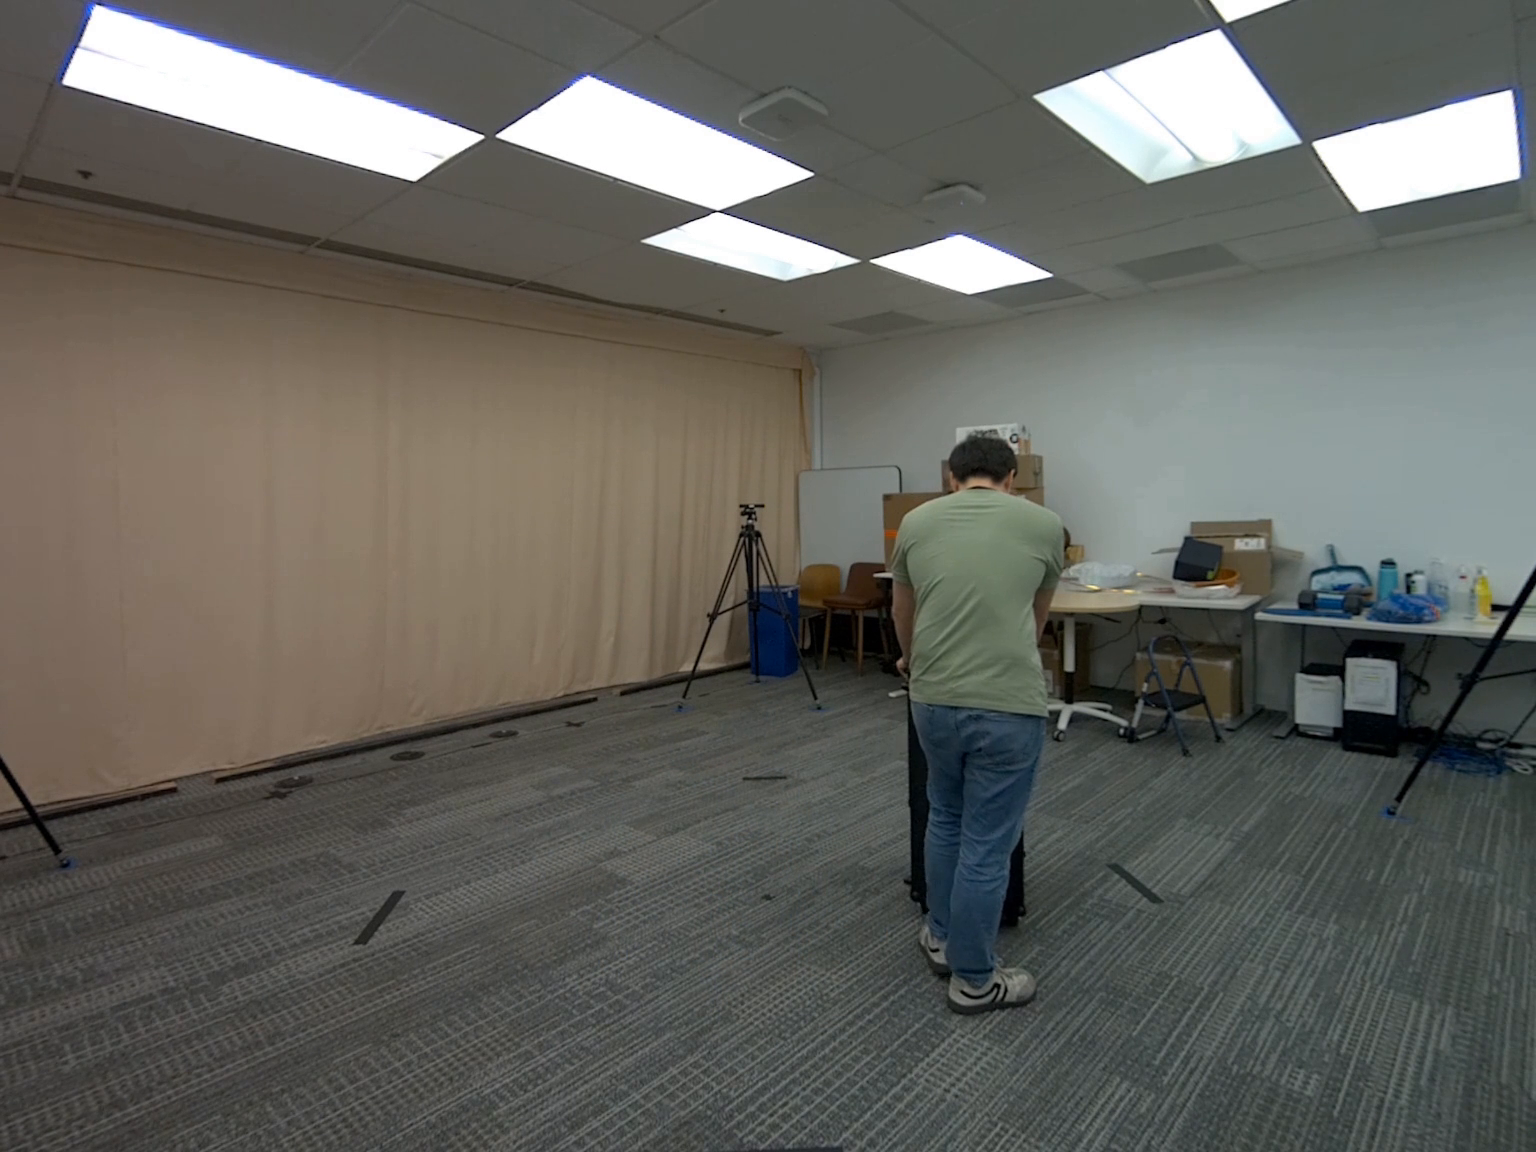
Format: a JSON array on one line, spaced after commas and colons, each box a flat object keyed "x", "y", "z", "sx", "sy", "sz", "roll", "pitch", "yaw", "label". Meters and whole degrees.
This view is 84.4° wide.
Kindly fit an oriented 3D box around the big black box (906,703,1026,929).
[{"x": 0.702, "y": 0.708, "z": 2.934, "sx": 0.404, "sy": 0.860, "sz": 0.512, "roll": -1, "pitch": 3, "yaw": 18, "label": "big black box"}]
